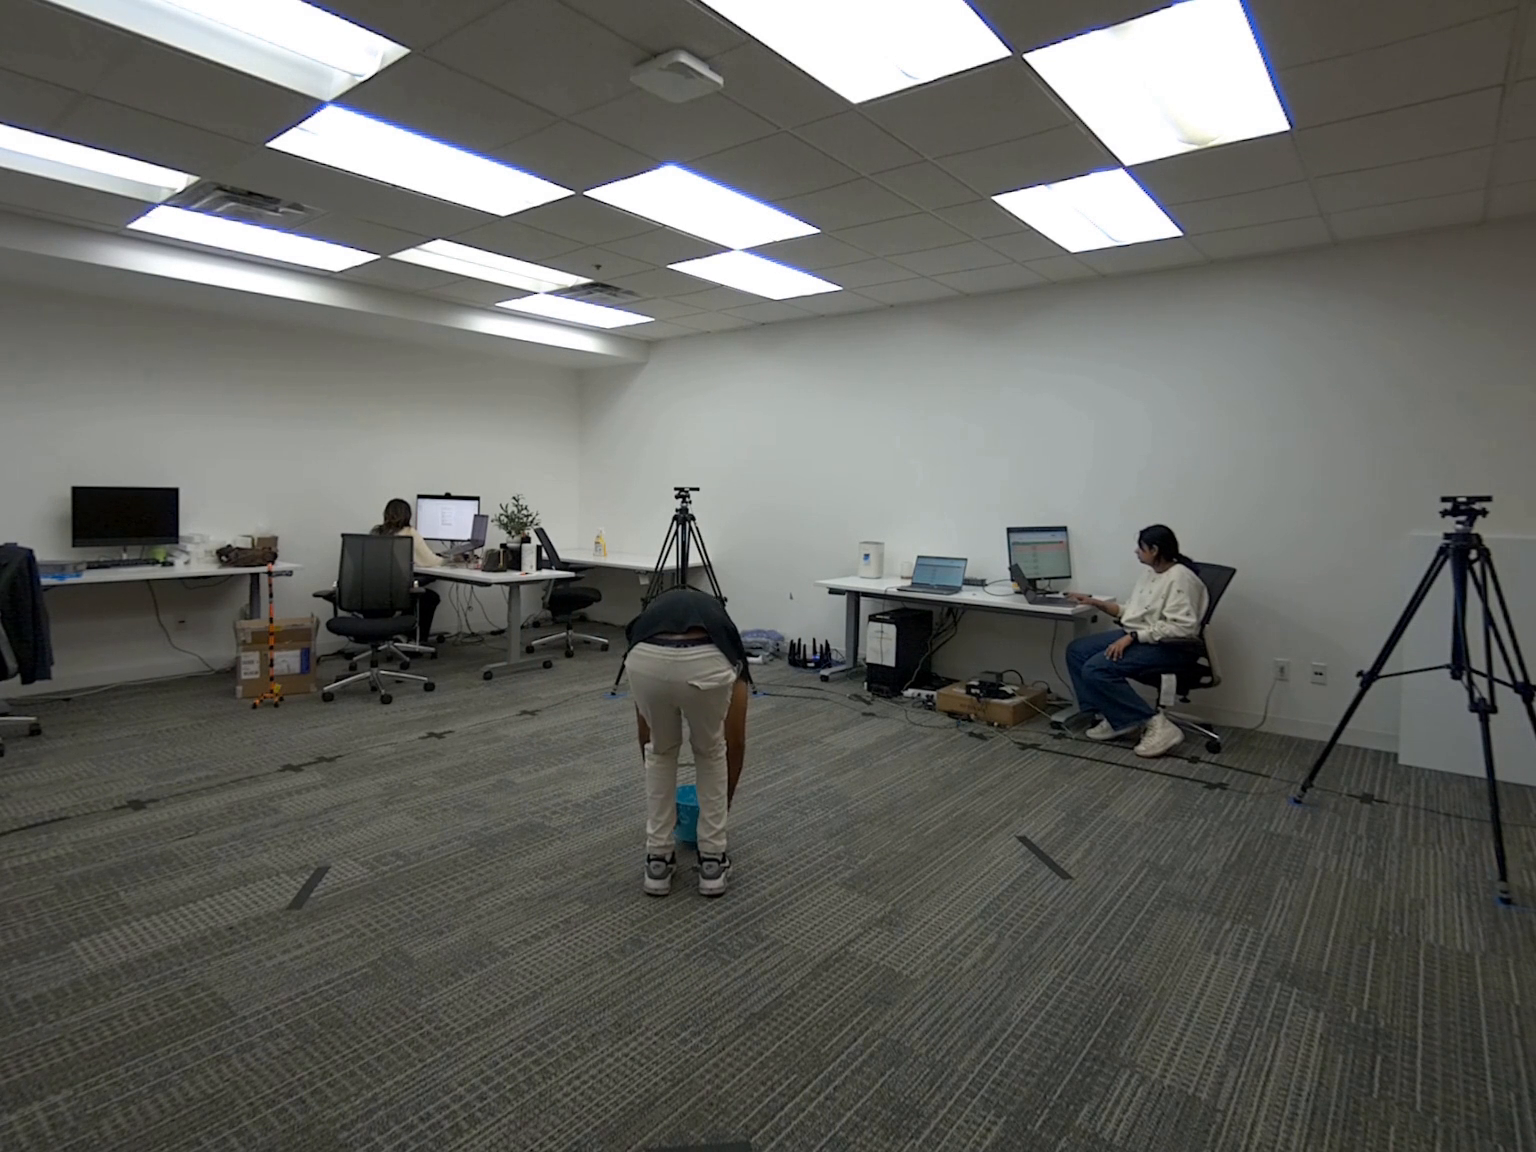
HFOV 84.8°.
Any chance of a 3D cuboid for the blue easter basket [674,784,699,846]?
[{"bbox_3d":[-0.284,0.912,3.340,0.243,0.155,0.245,1,4,-2],"label":"blue easter basket"}]
